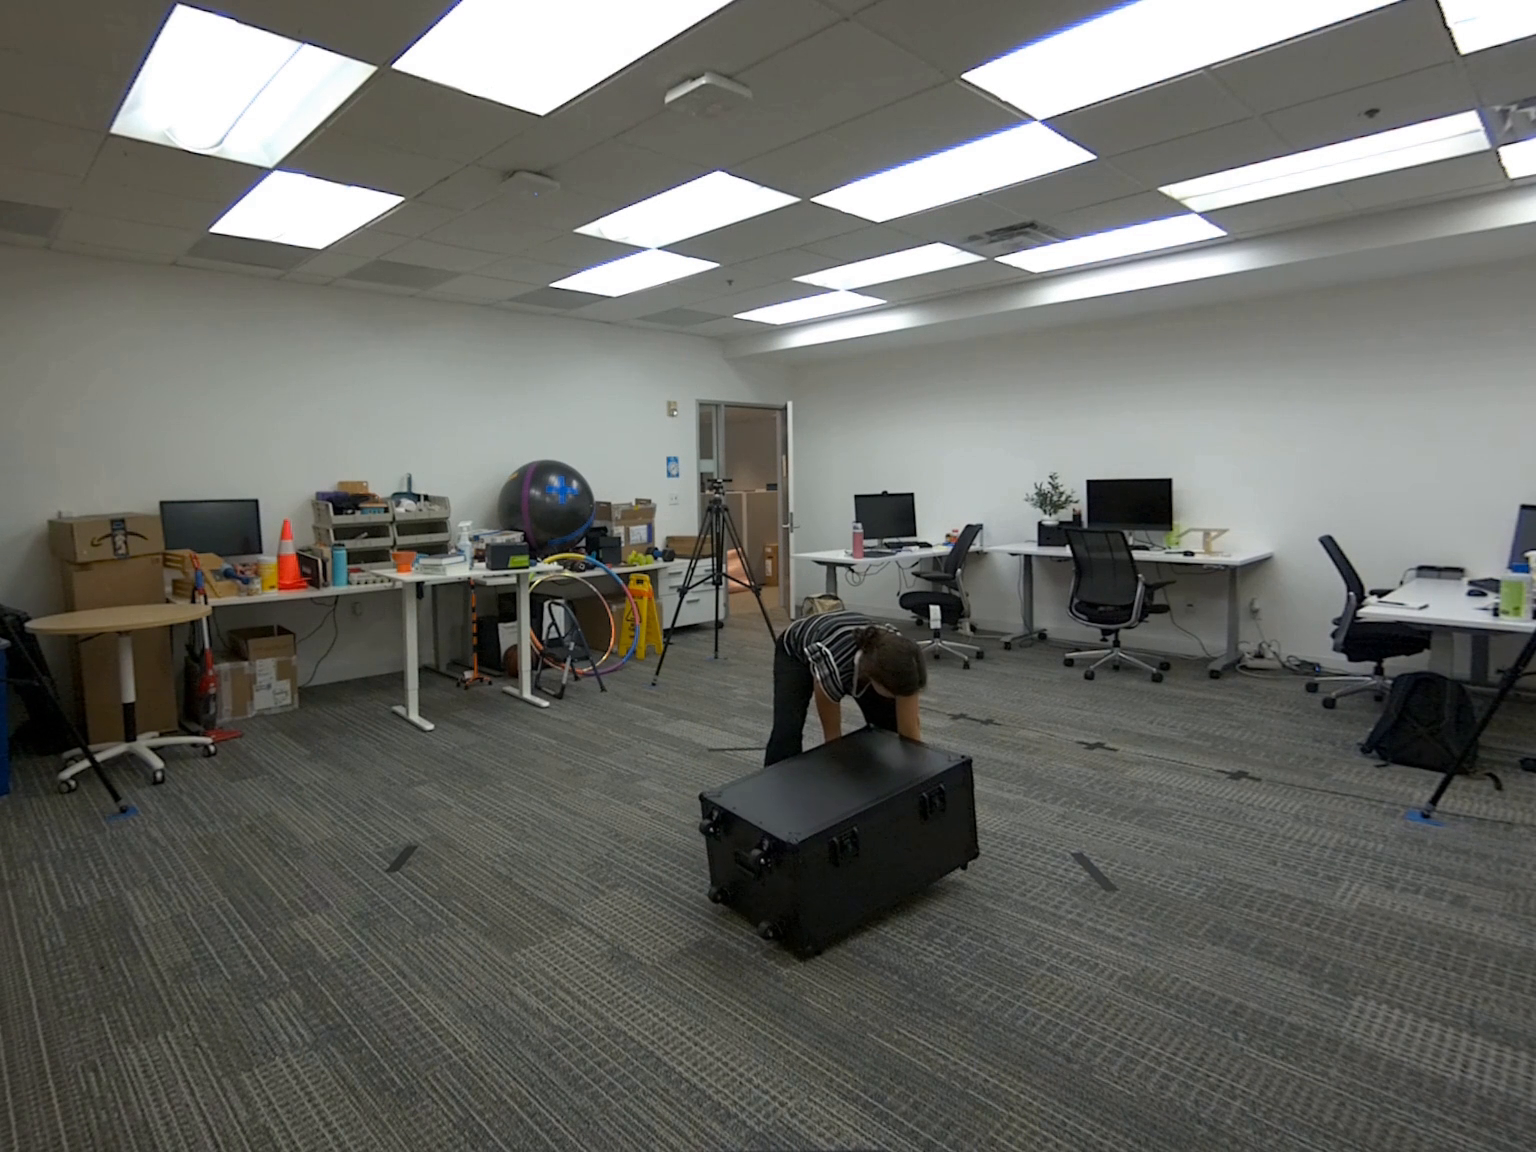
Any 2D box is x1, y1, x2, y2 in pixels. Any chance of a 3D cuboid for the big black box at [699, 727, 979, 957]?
[{"bbox_3d":[0.213,0.855,2.823,0.843,0.393,0.537,-13,11,-35],"label":"big black box"}]
